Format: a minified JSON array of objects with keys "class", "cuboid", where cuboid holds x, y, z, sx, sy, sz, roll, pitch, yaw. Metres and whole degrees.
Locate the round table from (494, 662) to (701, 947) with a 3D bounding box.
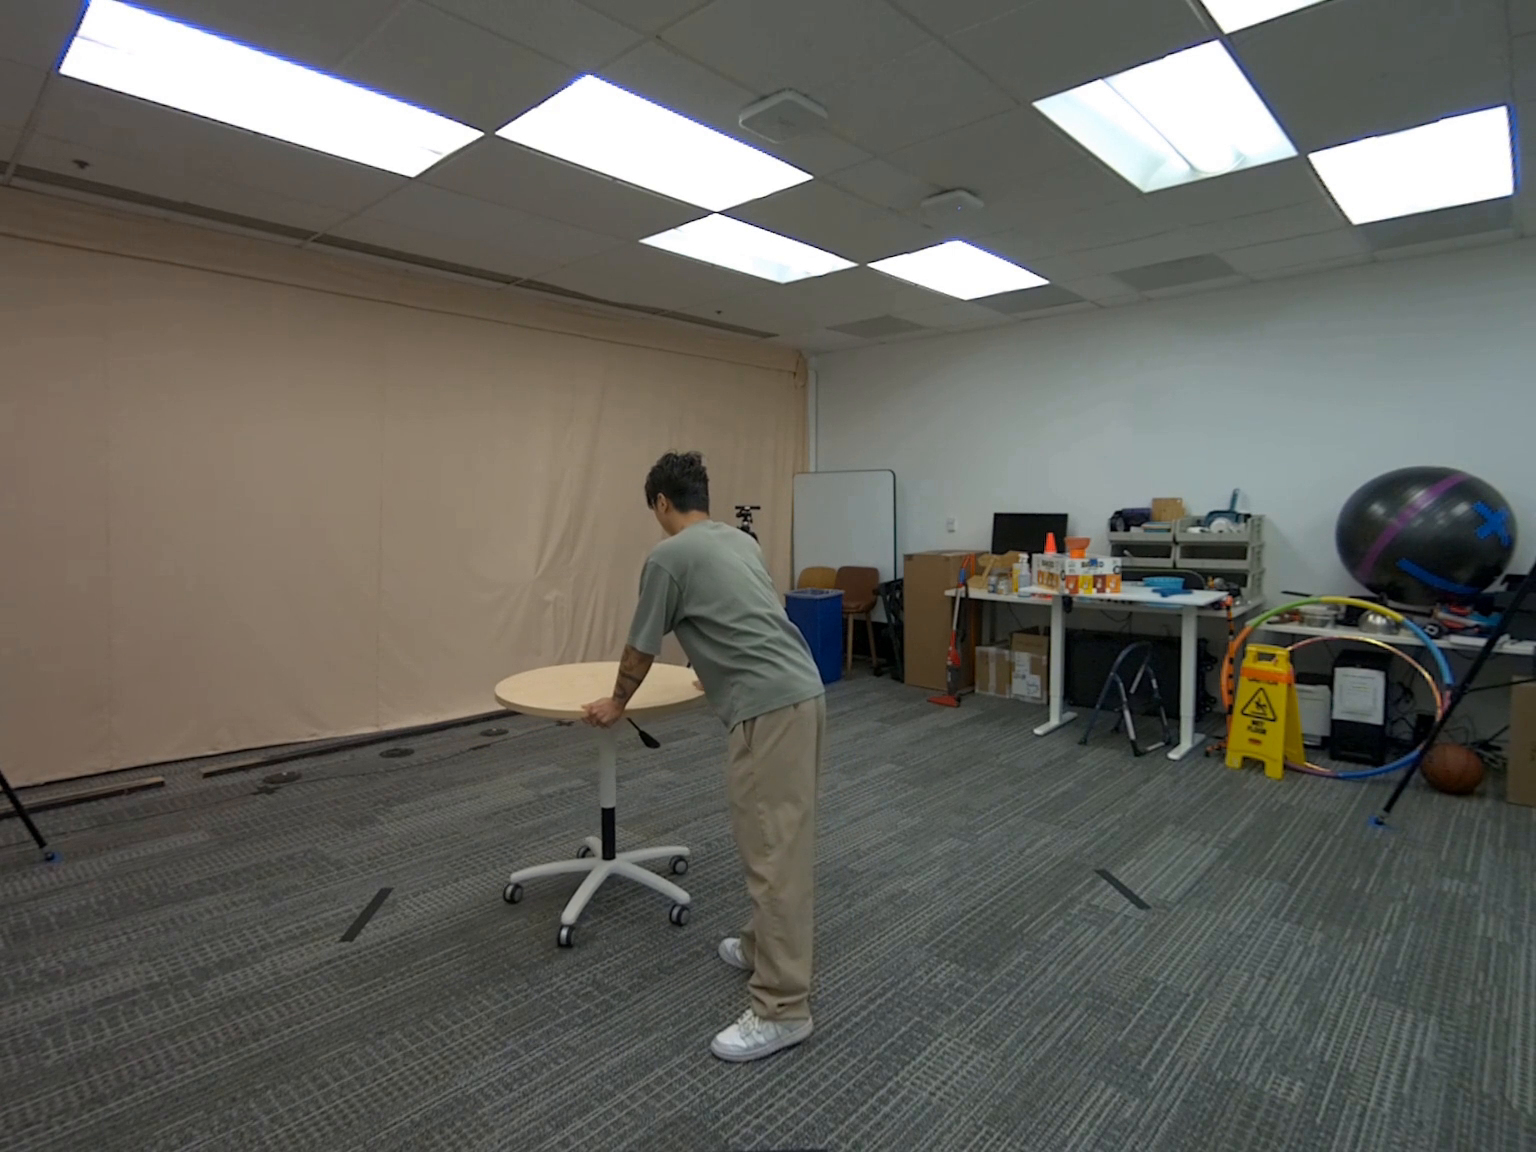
[{"class":"round table","cuboid":[-0.568,0.761,3.001,0.784,0.784,0.788,0,4,-2]}]
